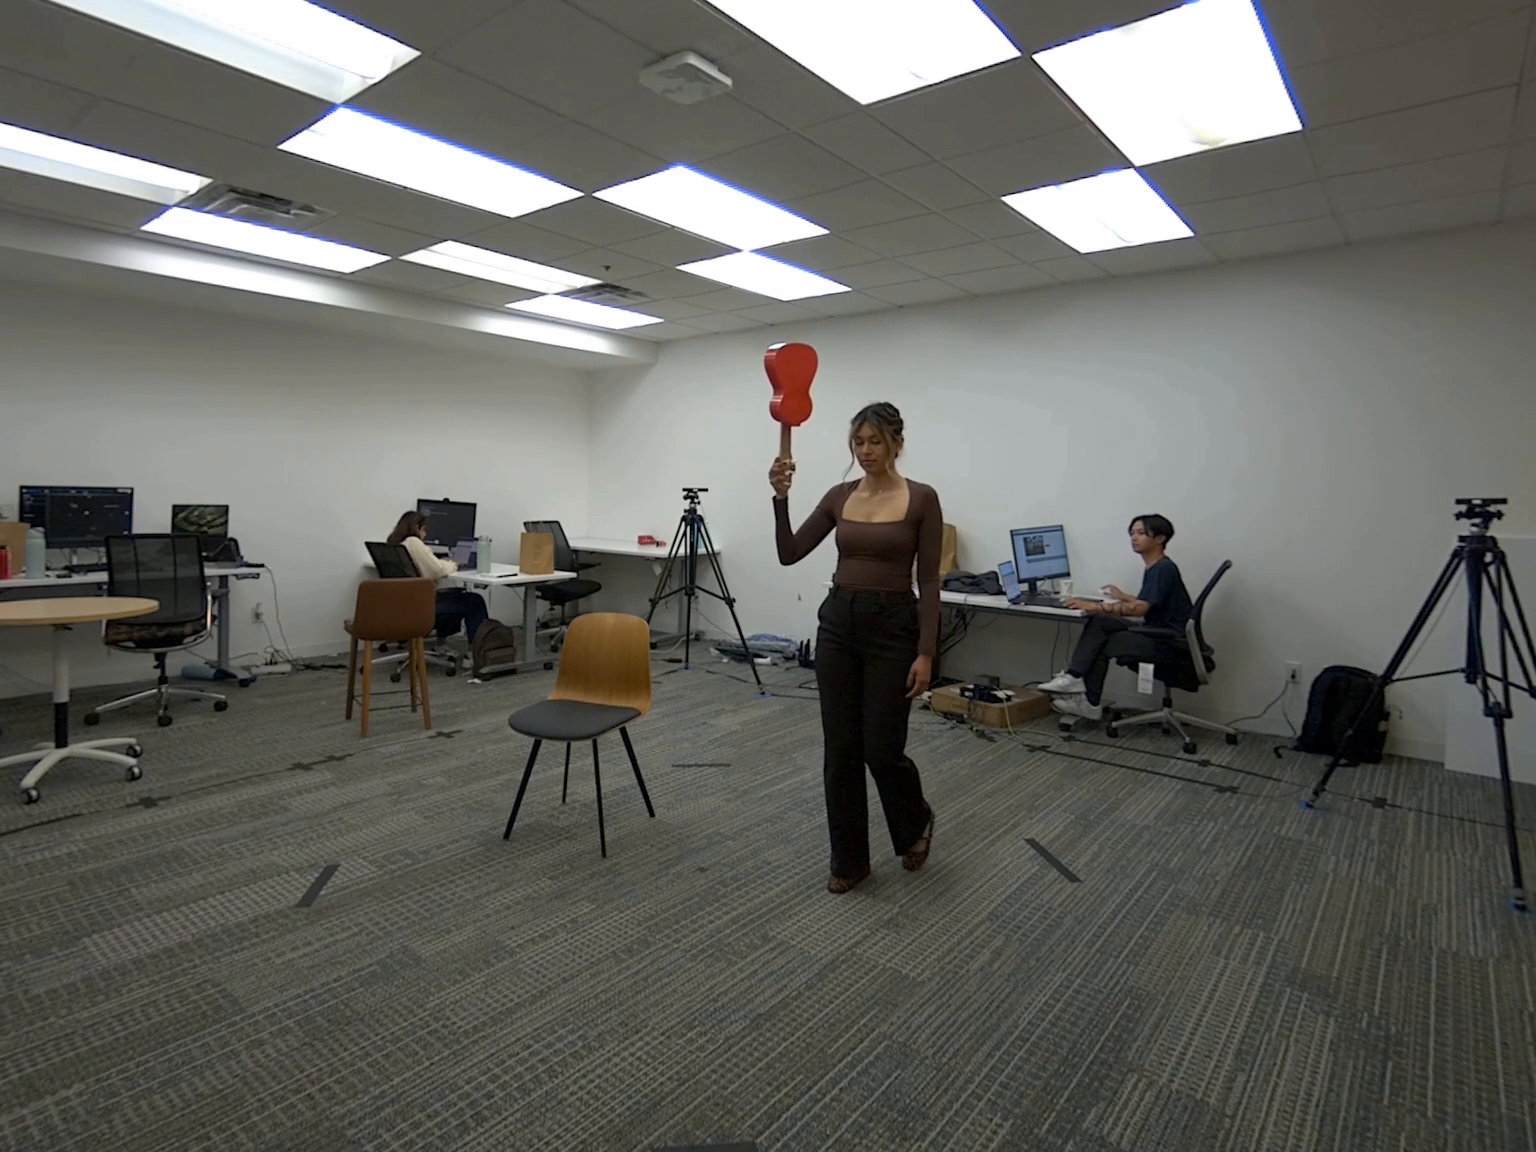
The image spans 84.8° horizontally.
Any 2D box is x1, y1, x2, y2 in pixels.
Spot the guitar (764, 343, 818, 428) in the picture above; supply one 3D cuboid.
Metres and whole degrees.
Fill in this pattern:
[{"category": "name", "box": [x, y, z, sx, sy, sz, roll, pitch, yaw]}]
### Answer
[{"category": "guitar", "box": [0.091, -0.549, 2.929, 0.189, 0.490, 0.073, -18, 19, -34]}]
